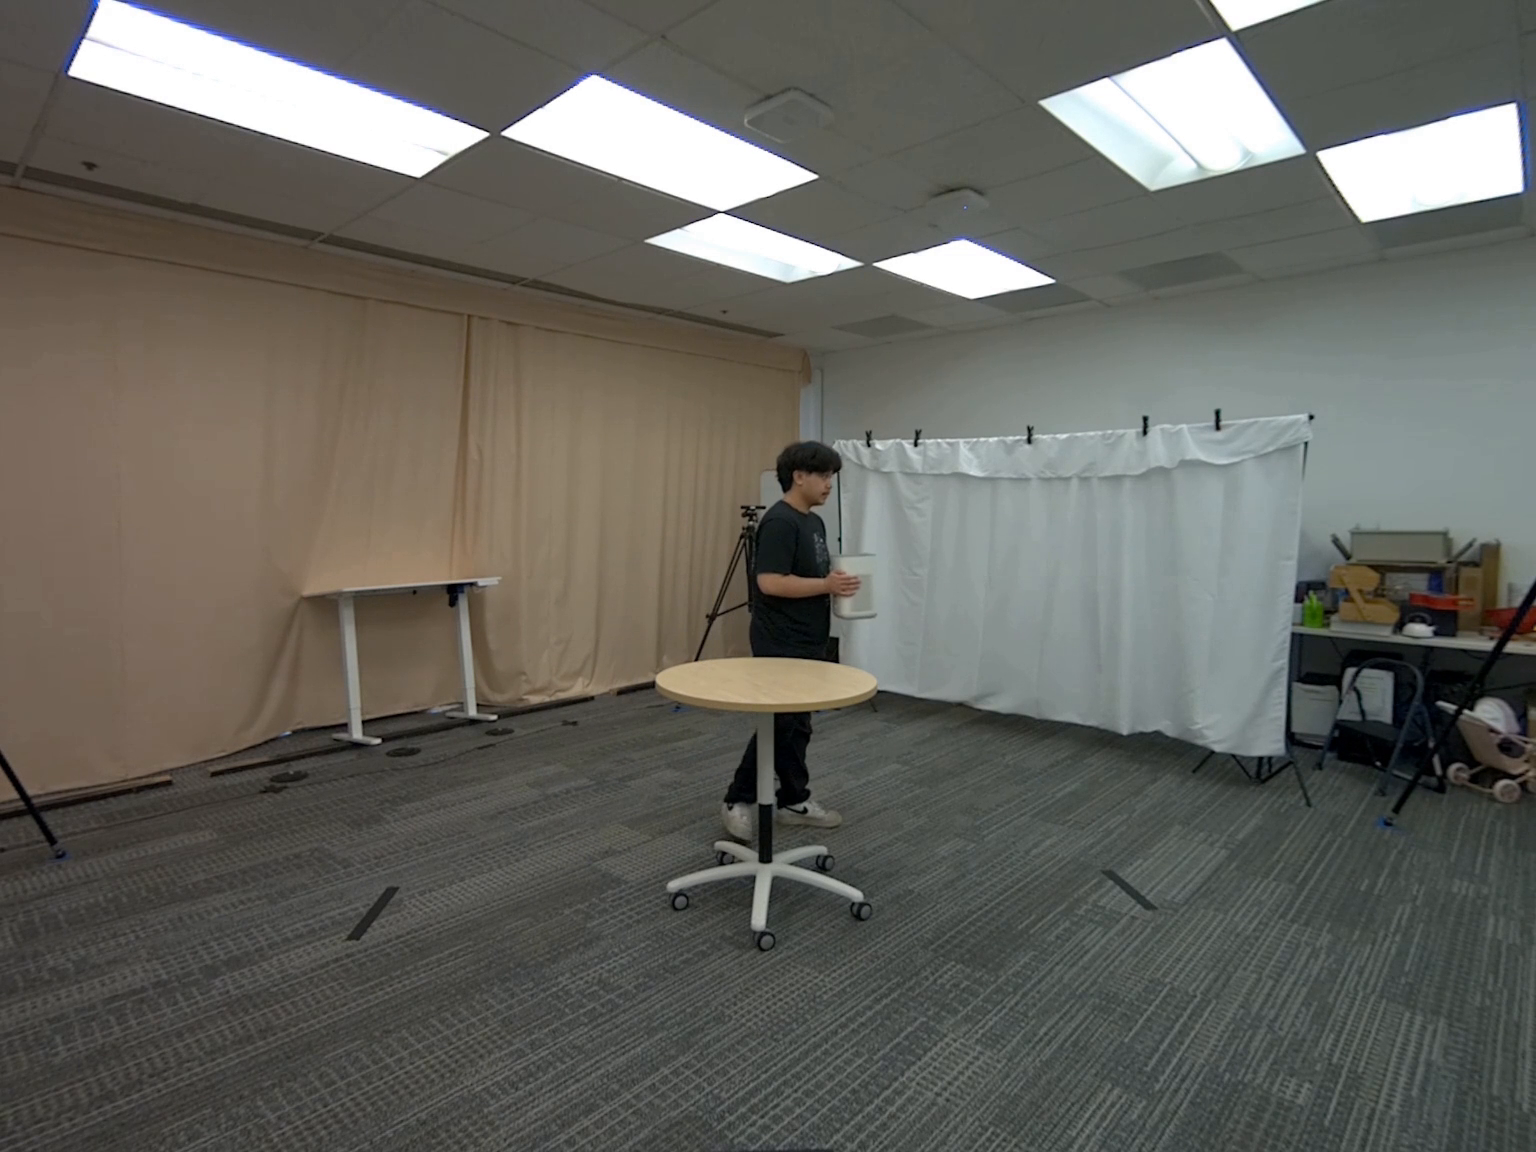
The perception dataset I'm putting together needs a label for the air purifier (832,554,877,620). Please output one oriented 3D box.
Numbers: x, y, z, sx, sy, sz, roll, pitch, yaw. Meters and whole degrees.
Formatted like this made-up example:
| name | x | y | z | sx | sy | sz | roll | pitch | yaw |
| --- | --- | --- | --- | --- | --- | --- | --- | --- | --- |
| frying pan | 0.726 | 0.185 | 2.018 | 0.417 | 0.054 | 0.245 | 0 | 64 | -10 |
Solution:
| name | x | y | z | sx | sy | sz | roll | pitch | yaw |
| --- | --- | --- | --- | --- | --- | --- | --- | --- | --- |
| air purifier | 0.354 | 0.043 | 3.519 | 0.171 | 0.265 | 0.172 | -1 | 3 | -6 |
